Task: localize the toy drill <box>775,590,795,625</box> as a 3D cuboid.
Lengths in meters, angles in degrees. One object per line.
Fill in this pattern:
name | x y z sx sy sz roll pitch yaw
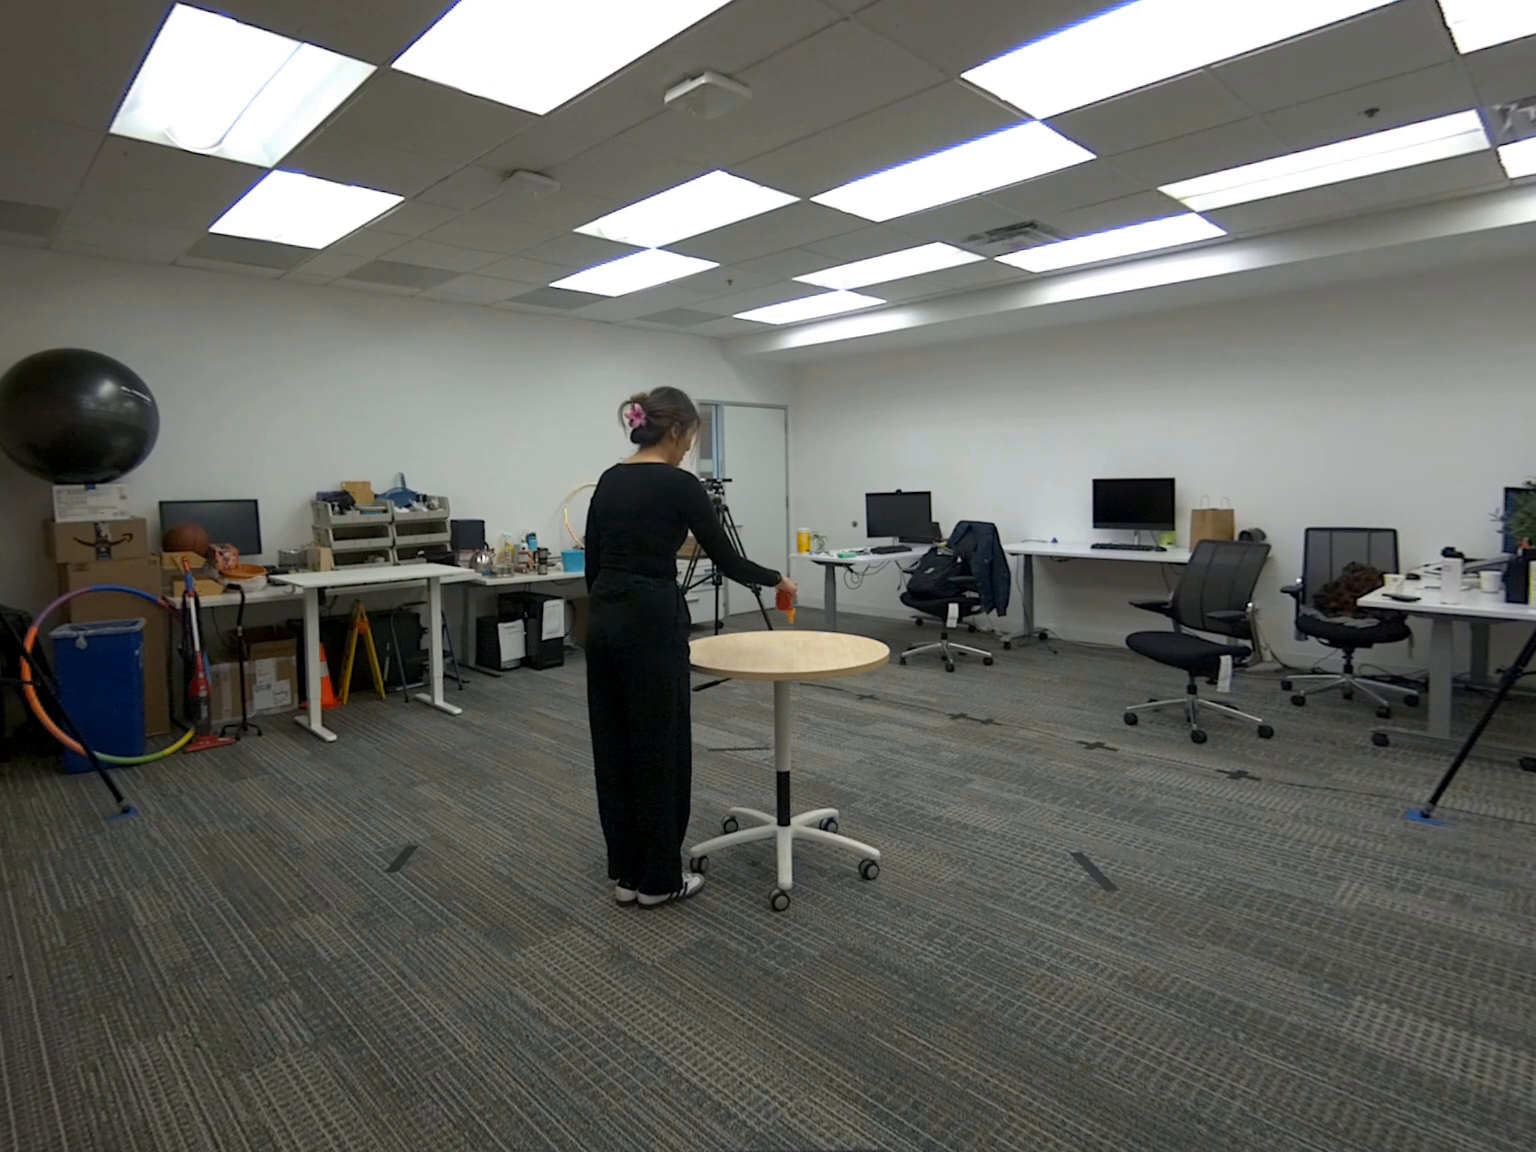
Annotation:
toy drill | 0.076 0.108 3.008 0.062 0.167 0.146 1 16 9
